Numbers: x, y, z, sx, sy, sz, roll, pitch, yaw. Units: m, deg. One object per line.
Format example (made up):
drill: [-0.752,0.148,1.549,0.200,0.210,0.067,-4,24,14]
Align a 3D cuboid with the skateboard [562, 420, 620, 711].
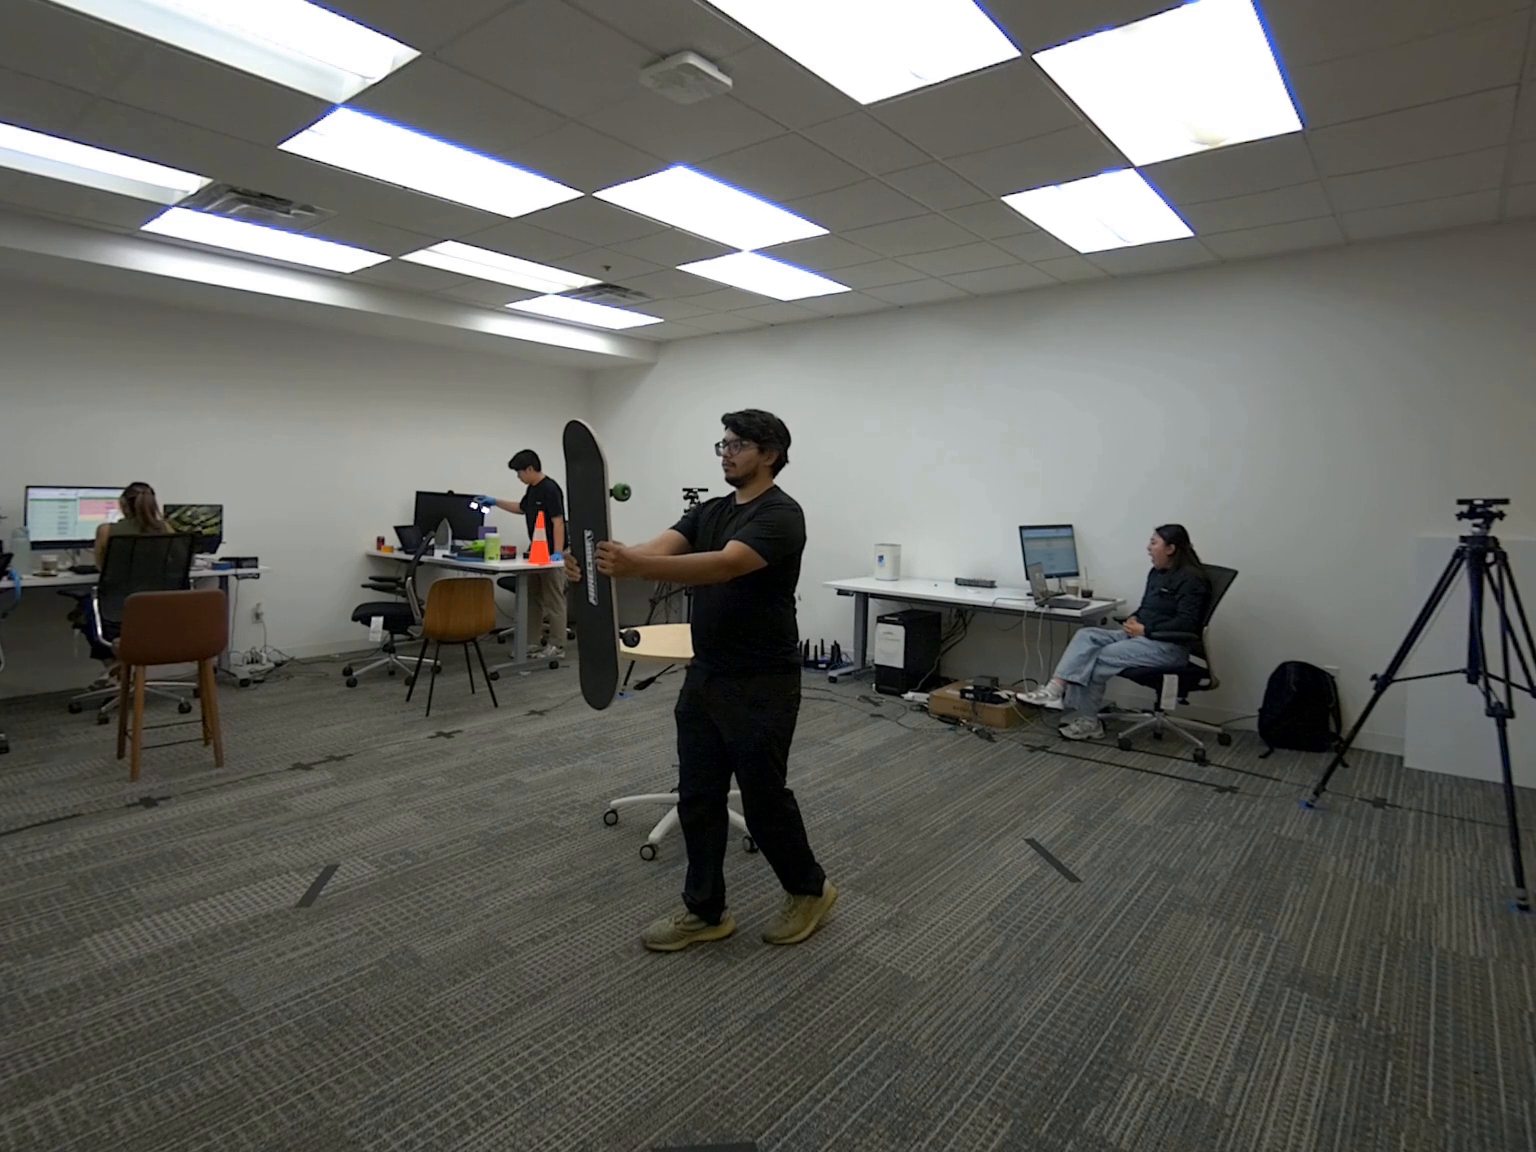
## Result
skateboard: [-0.457,-0.027,2.313,0.107,0.778,0.200,-11,12,-44]
